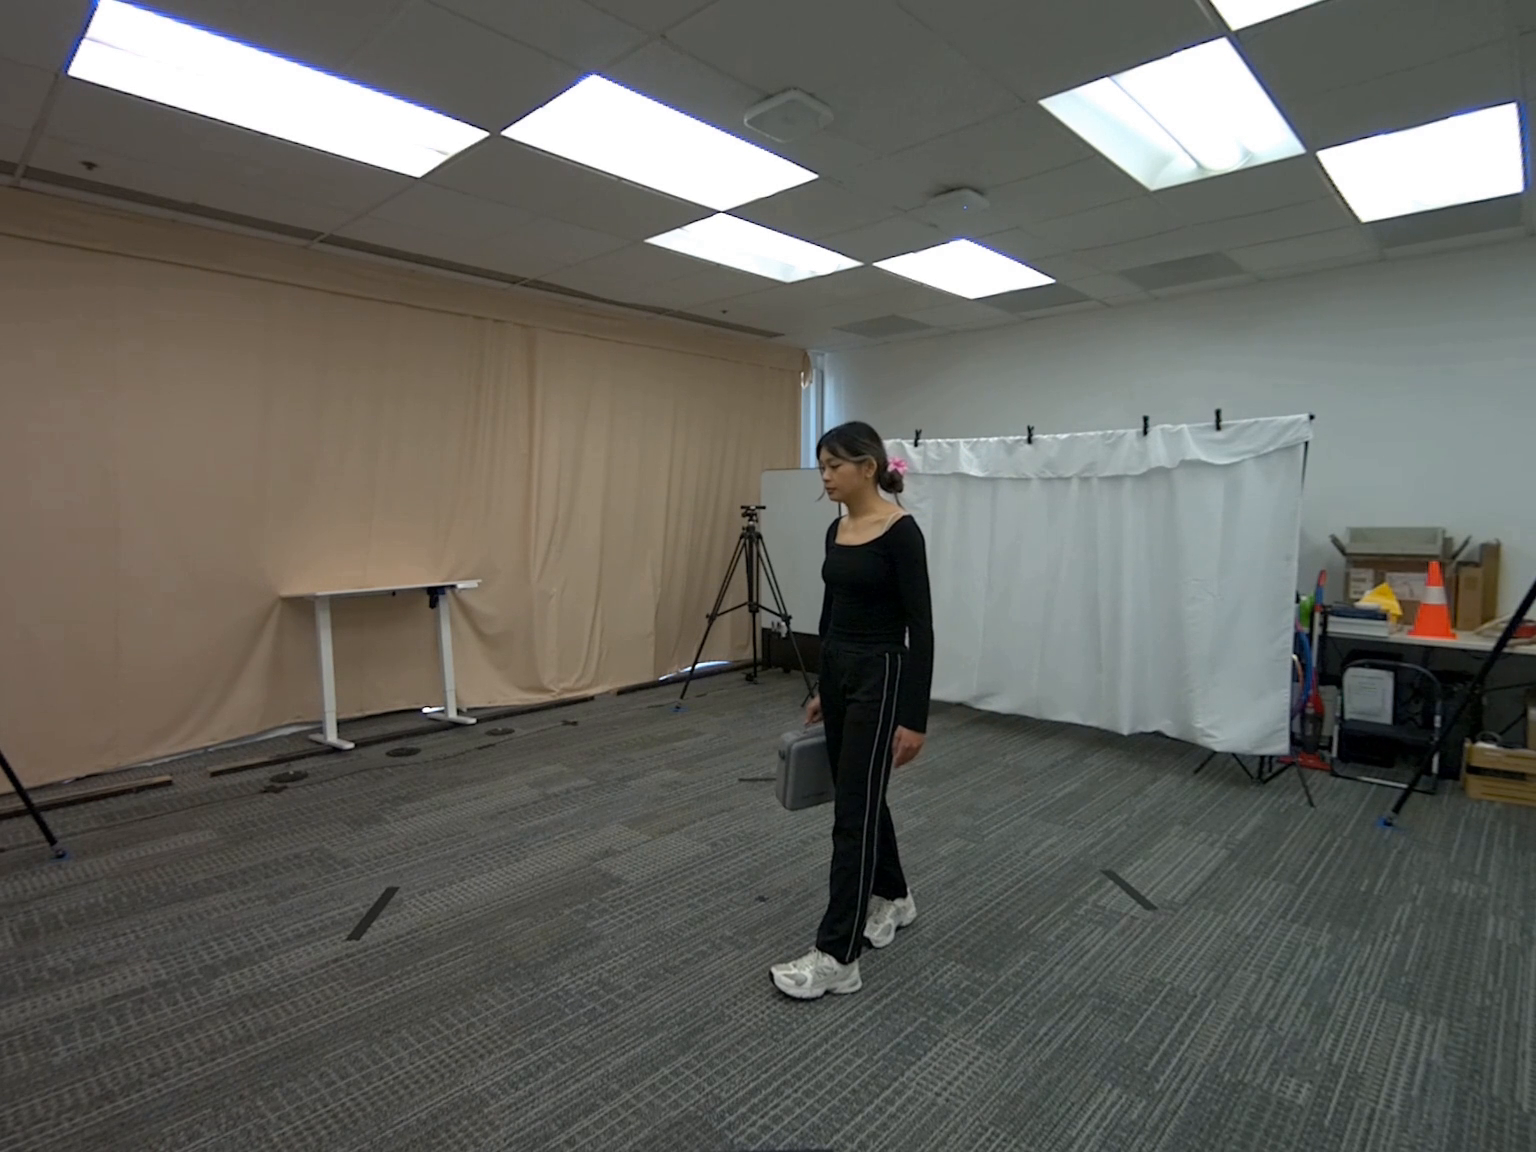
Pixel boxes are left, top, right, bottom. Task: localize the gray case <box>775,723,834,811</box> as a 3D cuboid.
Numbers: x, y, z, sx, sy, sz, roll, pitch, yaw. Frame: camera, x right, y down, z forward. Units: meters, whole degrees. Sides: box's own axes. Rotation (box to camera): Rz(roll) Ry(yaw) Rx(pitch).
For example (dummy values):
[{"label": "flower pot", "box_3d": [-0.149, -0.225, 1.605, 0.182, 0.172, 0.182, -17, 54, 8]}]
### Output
[{"label": "gray case", "box_3d": [0.162, 0.628, 2.793, 0.251, 0.258, 0.107, -4, 15, -25]}]
